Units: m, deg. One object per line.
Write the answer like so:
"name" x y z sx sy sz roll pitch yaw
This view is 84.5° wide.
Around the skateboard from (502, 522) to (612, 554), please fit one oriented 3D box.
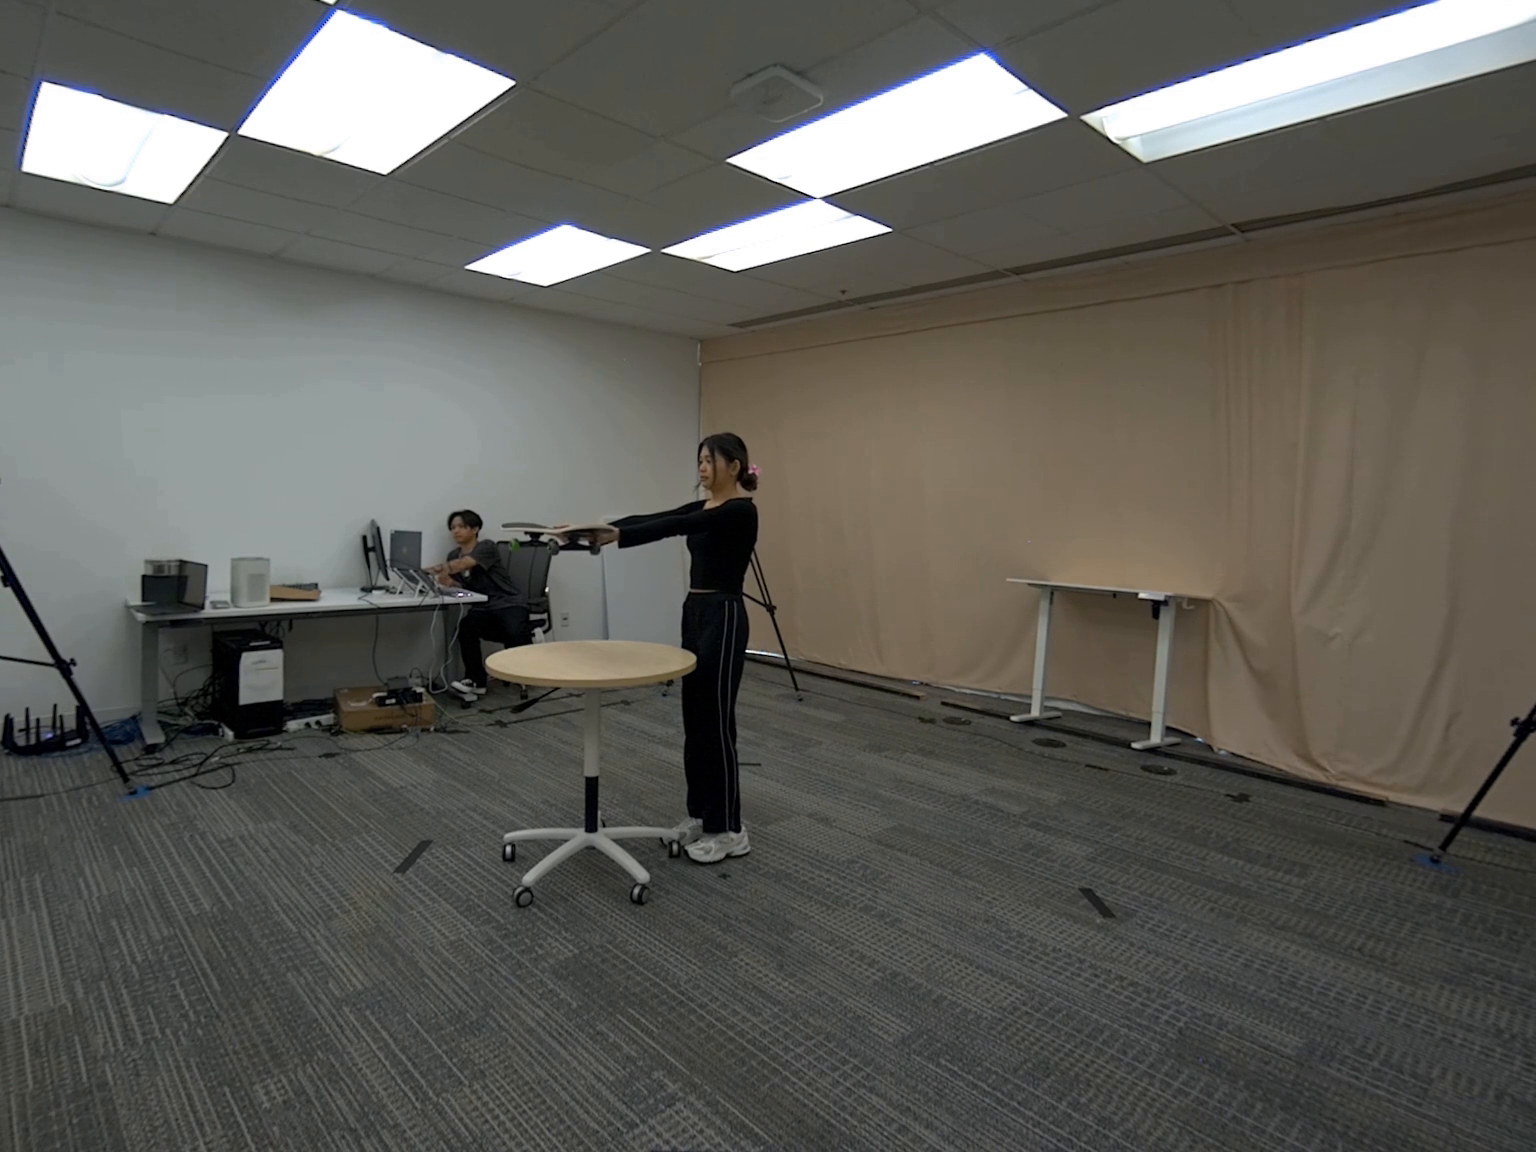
"skateboard" -0.800 -0.143 3.096 0.189 0.110 0.803 -1 4 -33
